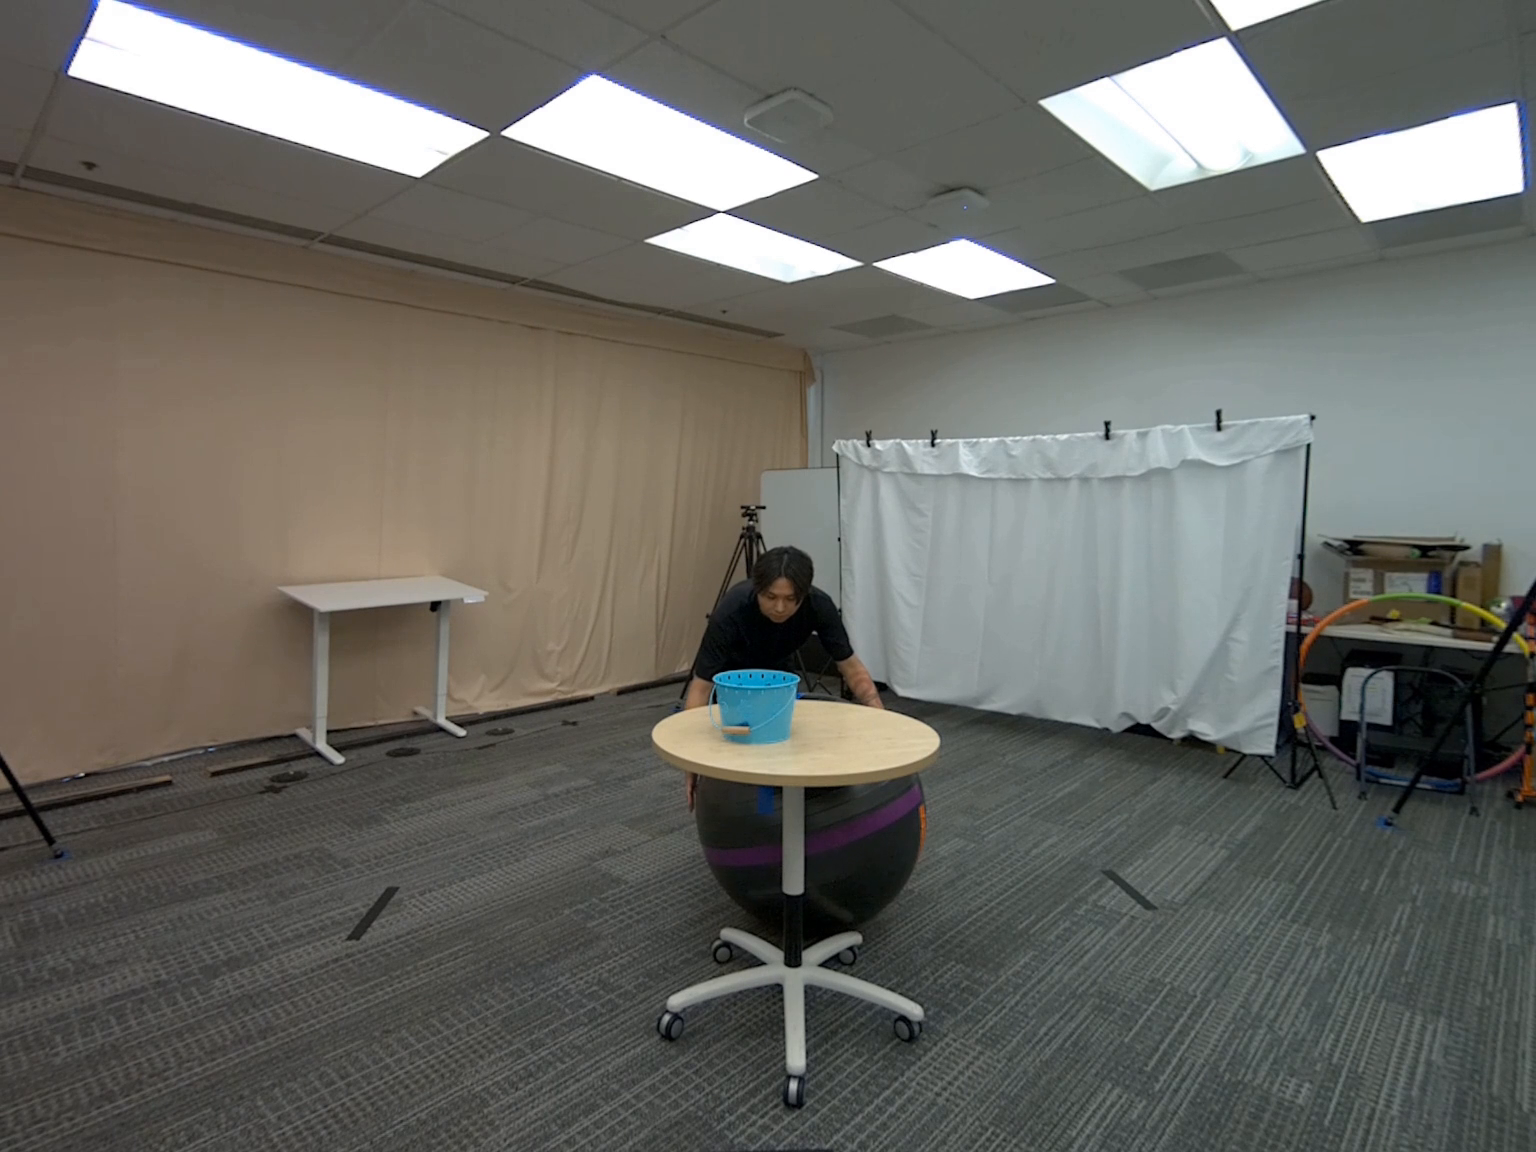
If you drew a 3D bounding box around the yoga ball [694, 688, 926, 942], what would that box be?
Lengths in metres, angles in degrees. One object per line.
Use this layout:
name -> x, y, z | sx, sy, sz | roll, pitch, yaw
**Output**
yoga ball -> 0.138, 0.785, 2.813 | 0.757, 0.756, 0.760 | 0, 4, -2
